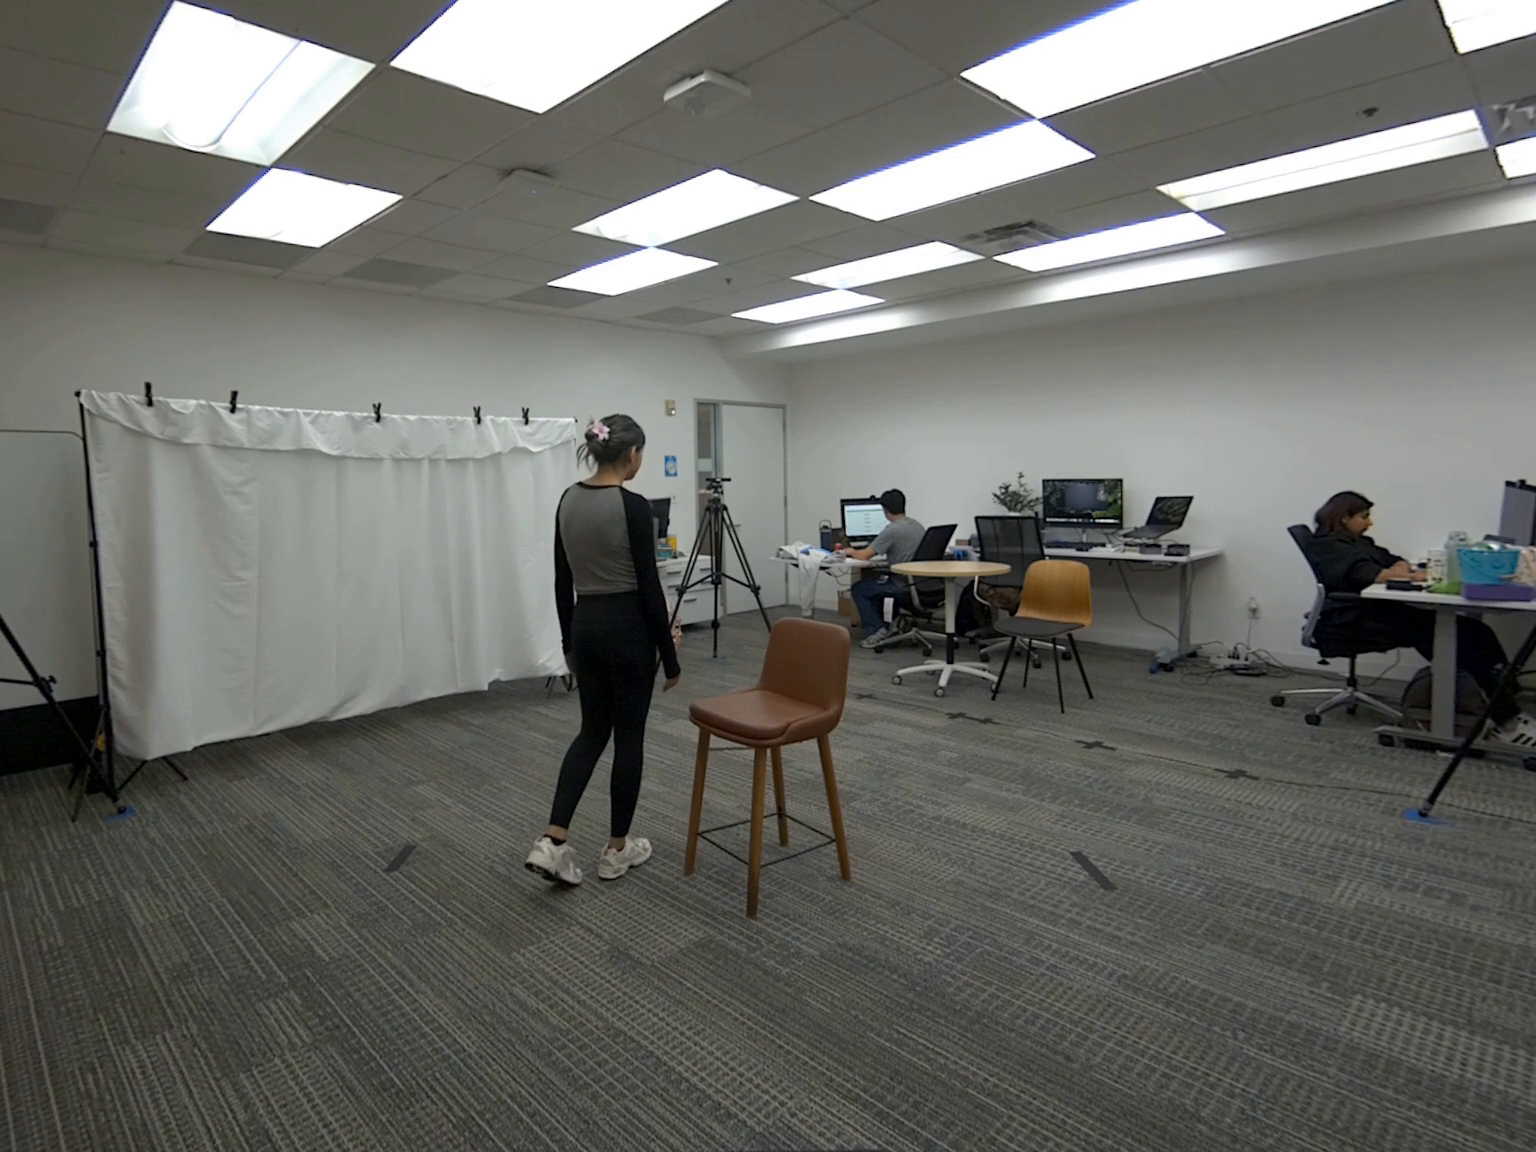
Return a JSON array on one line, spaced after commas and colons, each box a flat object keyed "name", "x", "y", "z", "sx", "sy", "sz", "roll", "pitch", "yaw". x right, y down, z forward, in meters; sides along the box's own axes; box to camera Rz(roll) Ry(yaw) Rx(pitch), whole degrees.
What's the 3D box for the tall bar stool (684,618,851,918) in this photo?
[{"name": "tall bar stool", "x": 0.003, "y": 0.619, "z": 2.970, "sx": 0.455, "sy": 0.887, "sz": 0.470, "roll": -1, "pitch": 4, "yaw": -37}]
